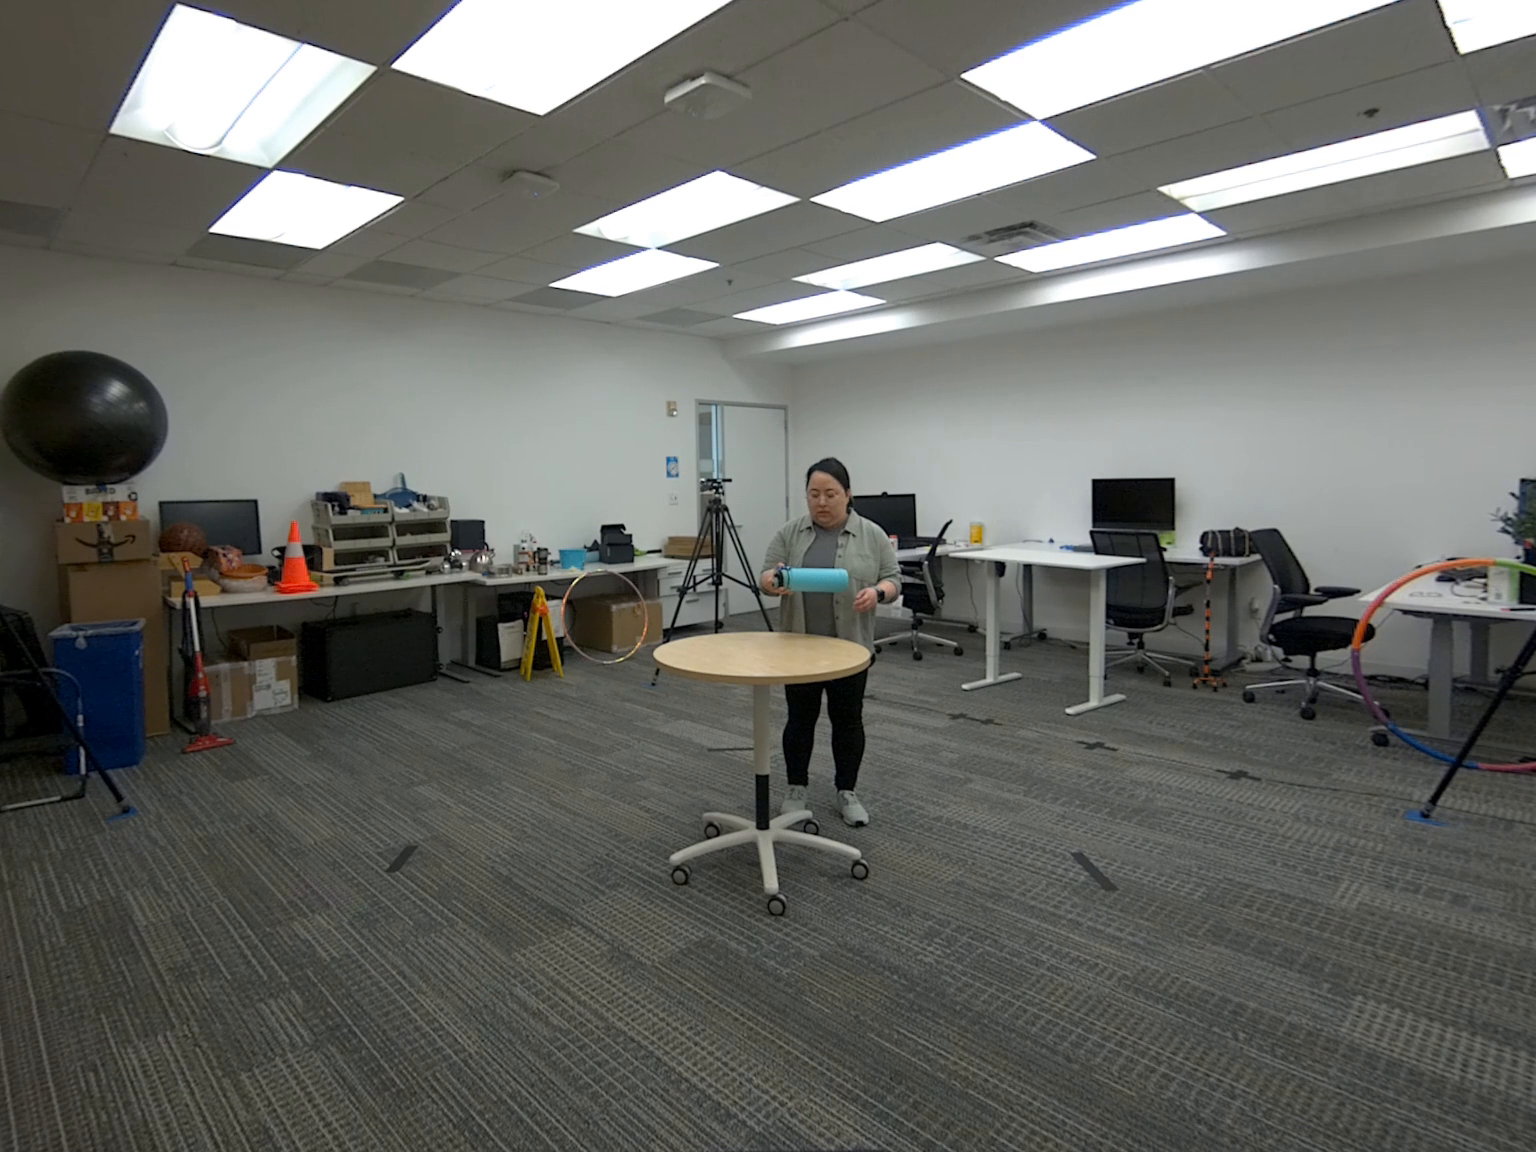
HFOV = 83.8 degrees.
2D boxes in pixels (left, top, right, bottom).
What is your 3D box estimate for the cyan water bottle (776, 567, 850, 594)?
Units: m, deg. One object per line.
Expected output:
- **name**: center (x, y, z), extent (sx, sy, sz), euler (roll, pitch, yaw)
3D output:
- **cyan water bottle**: center (0.149, 0.015, 3.232), extent (0.280, 0.092, 0.093), euler (2, 4, -10)
